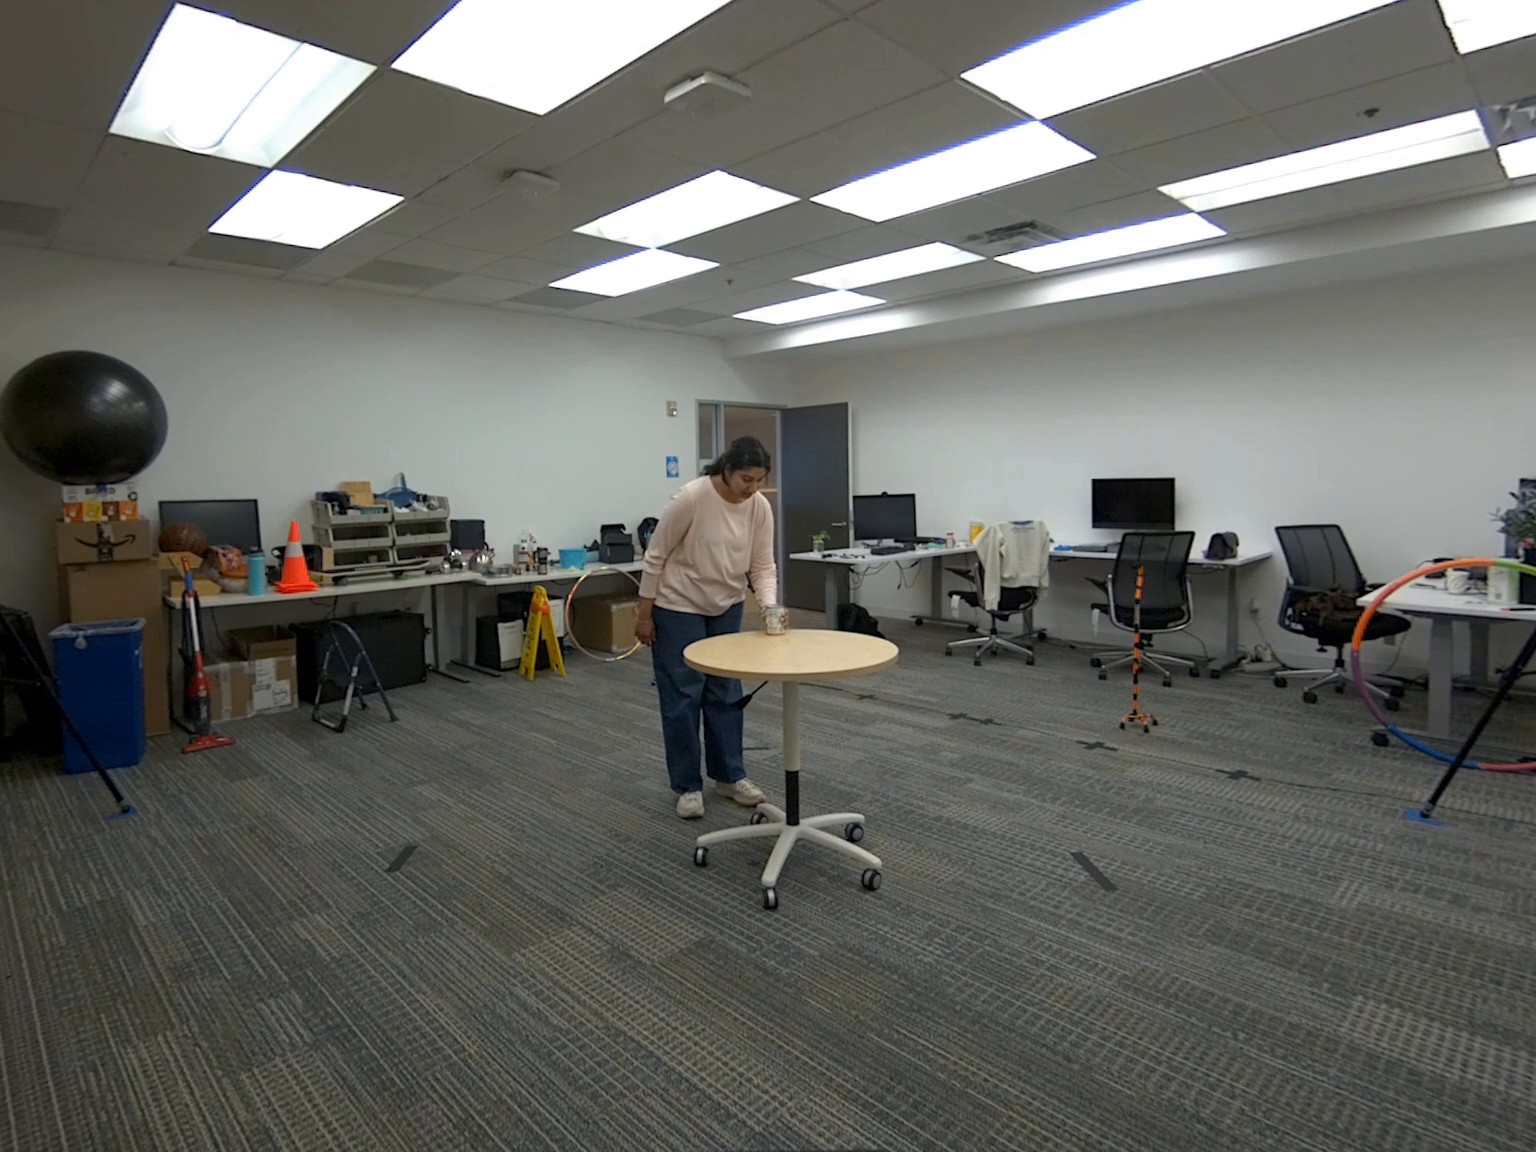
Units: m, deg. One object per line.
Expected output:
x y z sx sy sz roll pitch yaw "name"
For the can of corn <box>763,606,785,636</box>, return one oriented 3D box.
0.027 0.174 3.359 0.074 0.110 0.074 -1 5 -2 "can of corn"
